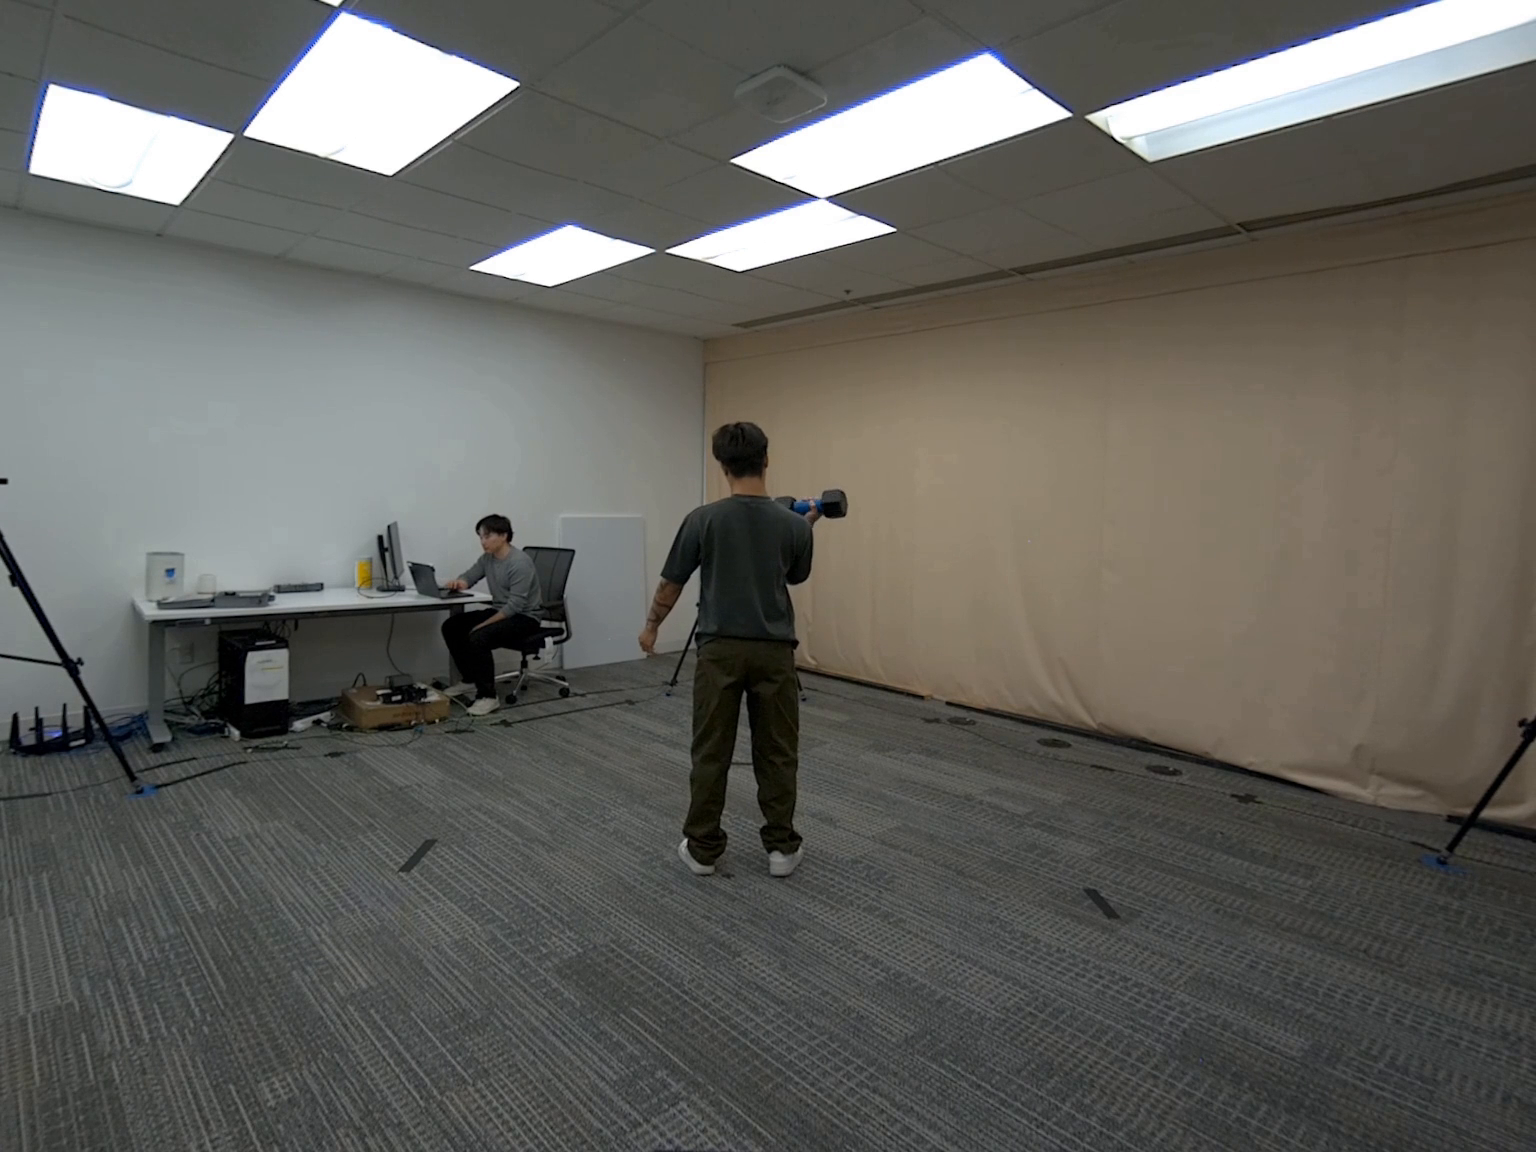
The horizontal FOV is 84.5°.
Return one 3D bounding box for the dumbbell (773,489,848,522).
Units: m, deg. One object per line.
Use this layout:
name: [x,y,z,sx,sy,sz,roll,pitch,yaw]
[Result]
dumbbell: [0.163,-0.270,3.391,0.298,0.120,0.109,-5,26,26]
